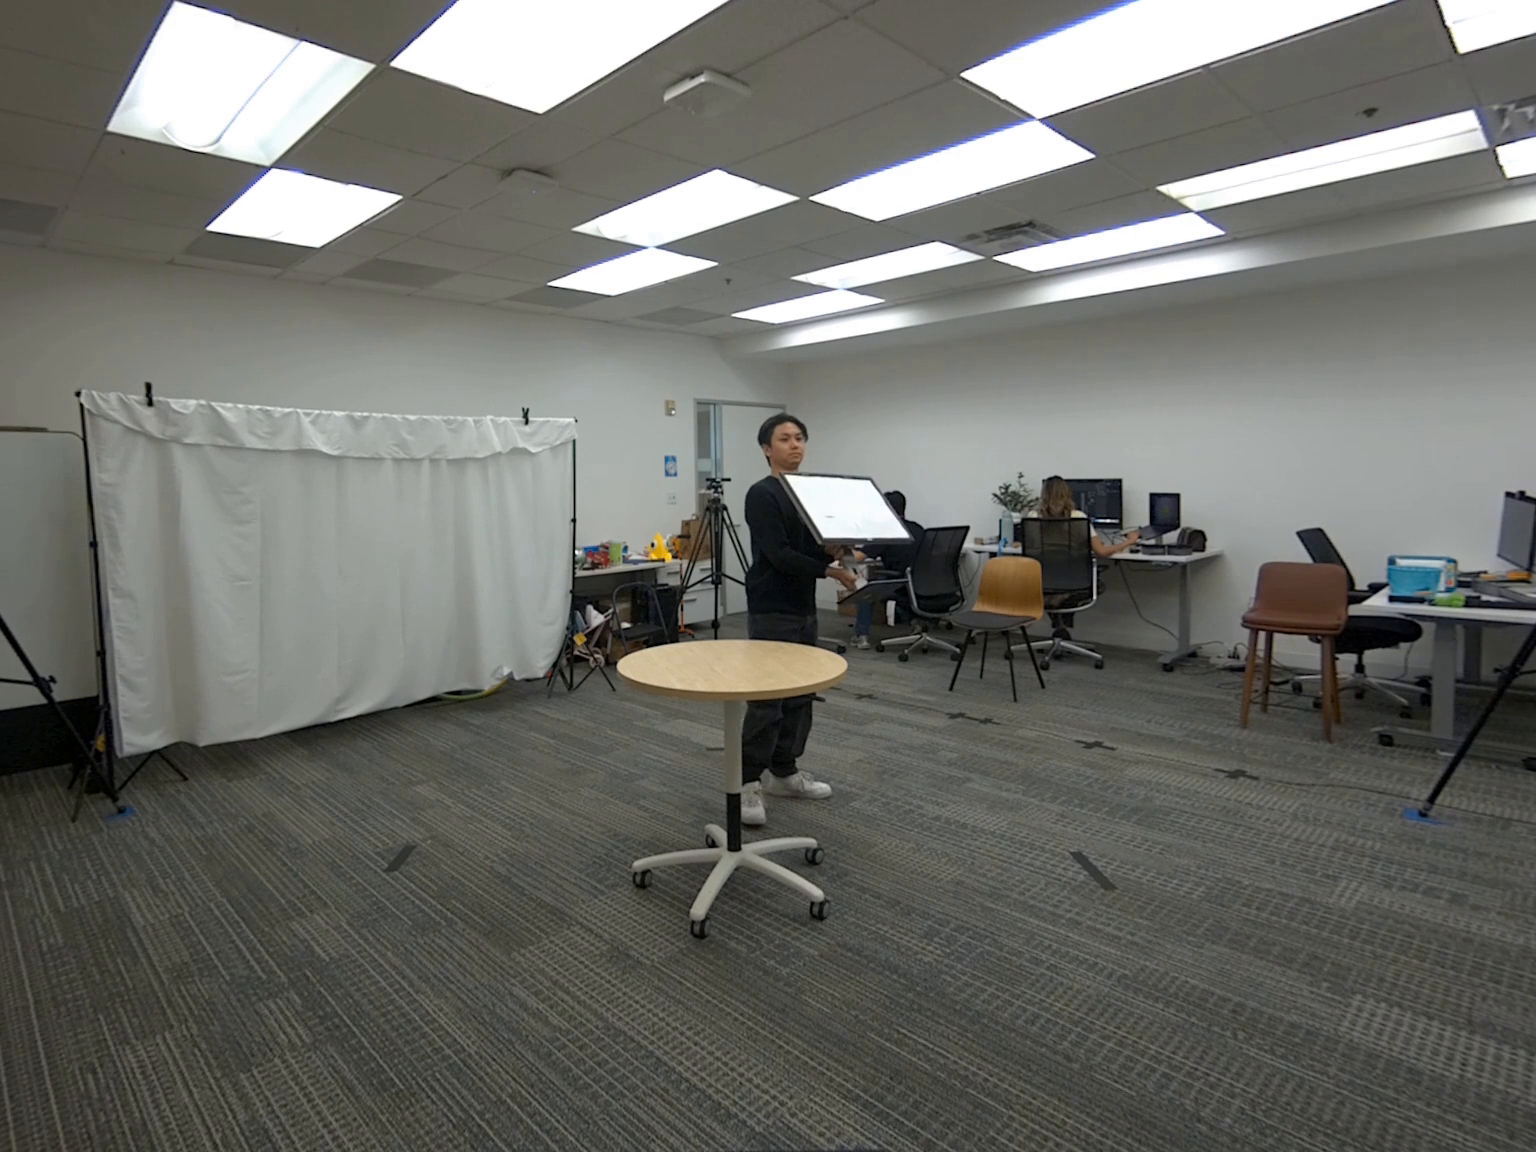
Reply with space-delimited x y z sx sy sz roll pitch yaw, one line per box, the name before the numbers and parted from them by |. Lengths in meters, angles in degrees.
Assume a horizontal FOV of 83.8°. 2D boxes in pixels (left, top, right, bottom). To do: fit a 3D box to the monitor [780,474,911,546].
monitor | 0.319 -0.174 3.453 0.523 0.534 0.188 0 -27 -42
